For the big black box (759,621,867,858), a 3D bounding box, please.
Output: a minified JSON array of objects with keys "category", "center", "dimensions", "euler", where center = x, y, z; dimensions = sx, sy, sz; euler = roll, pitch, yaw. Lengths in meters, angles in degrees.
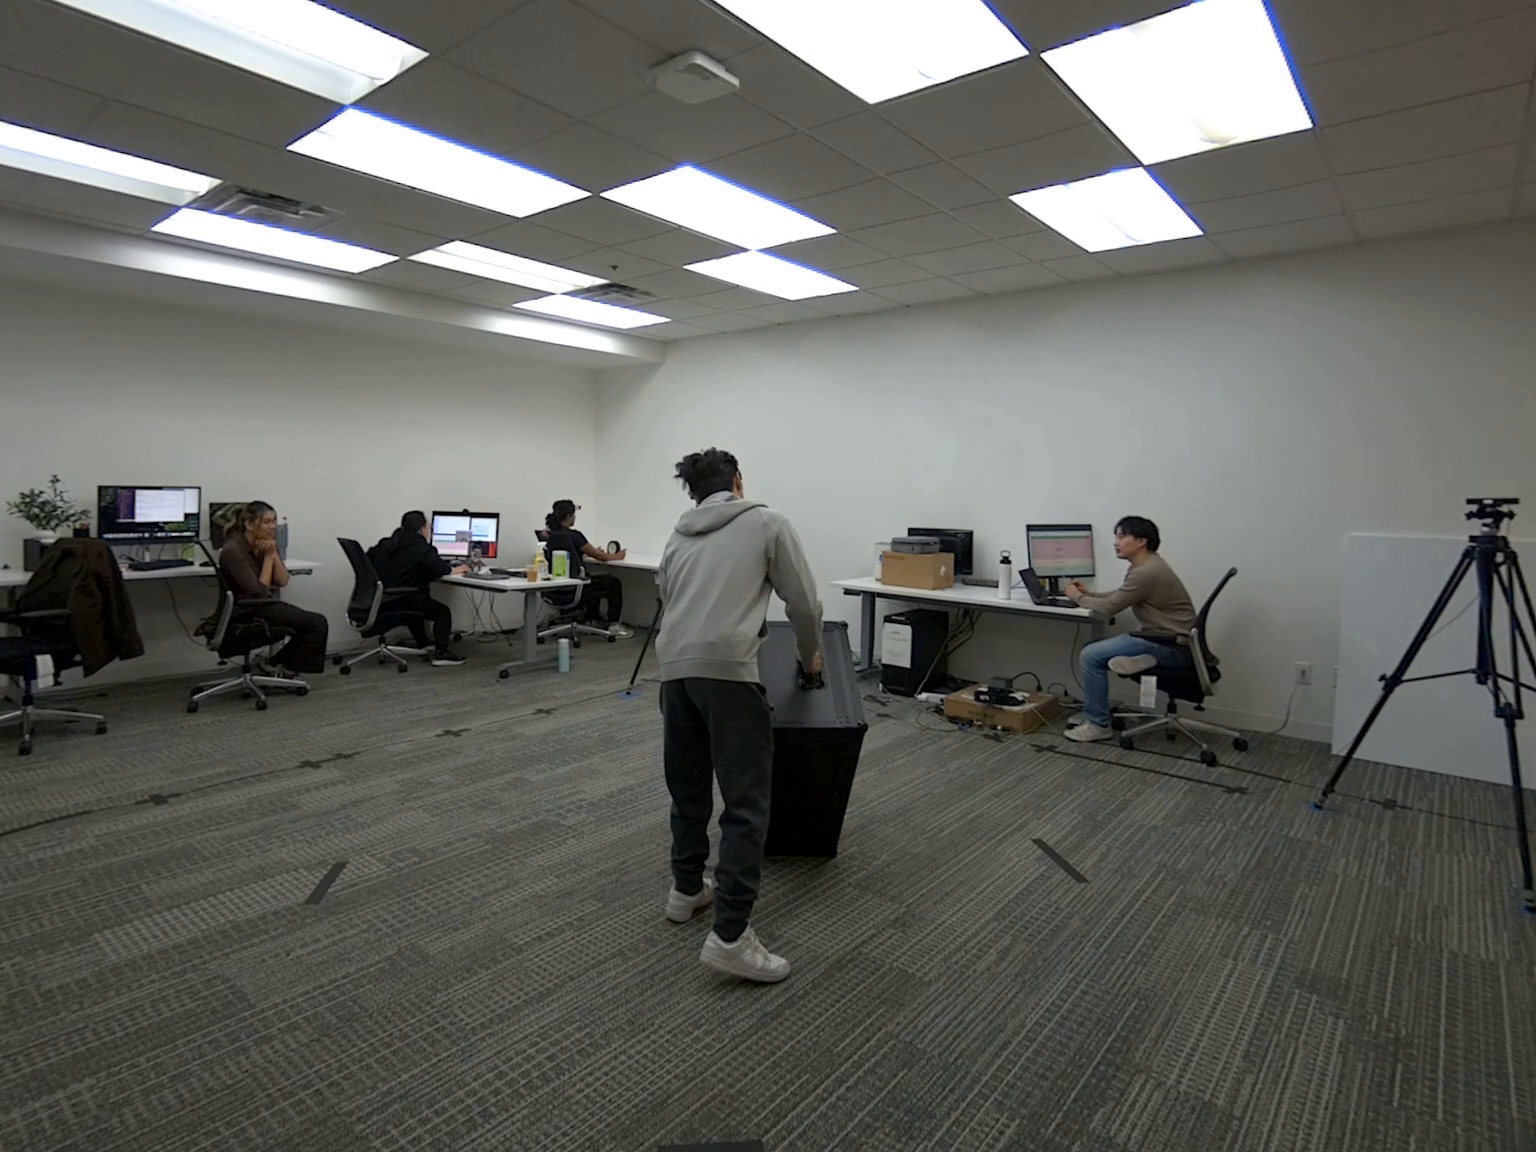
[{"category":"big black box","center":[0.079,0.640,3.181],"dimensions":[0.395,0.839,0.537],"euler":[2,41,-4]}]
